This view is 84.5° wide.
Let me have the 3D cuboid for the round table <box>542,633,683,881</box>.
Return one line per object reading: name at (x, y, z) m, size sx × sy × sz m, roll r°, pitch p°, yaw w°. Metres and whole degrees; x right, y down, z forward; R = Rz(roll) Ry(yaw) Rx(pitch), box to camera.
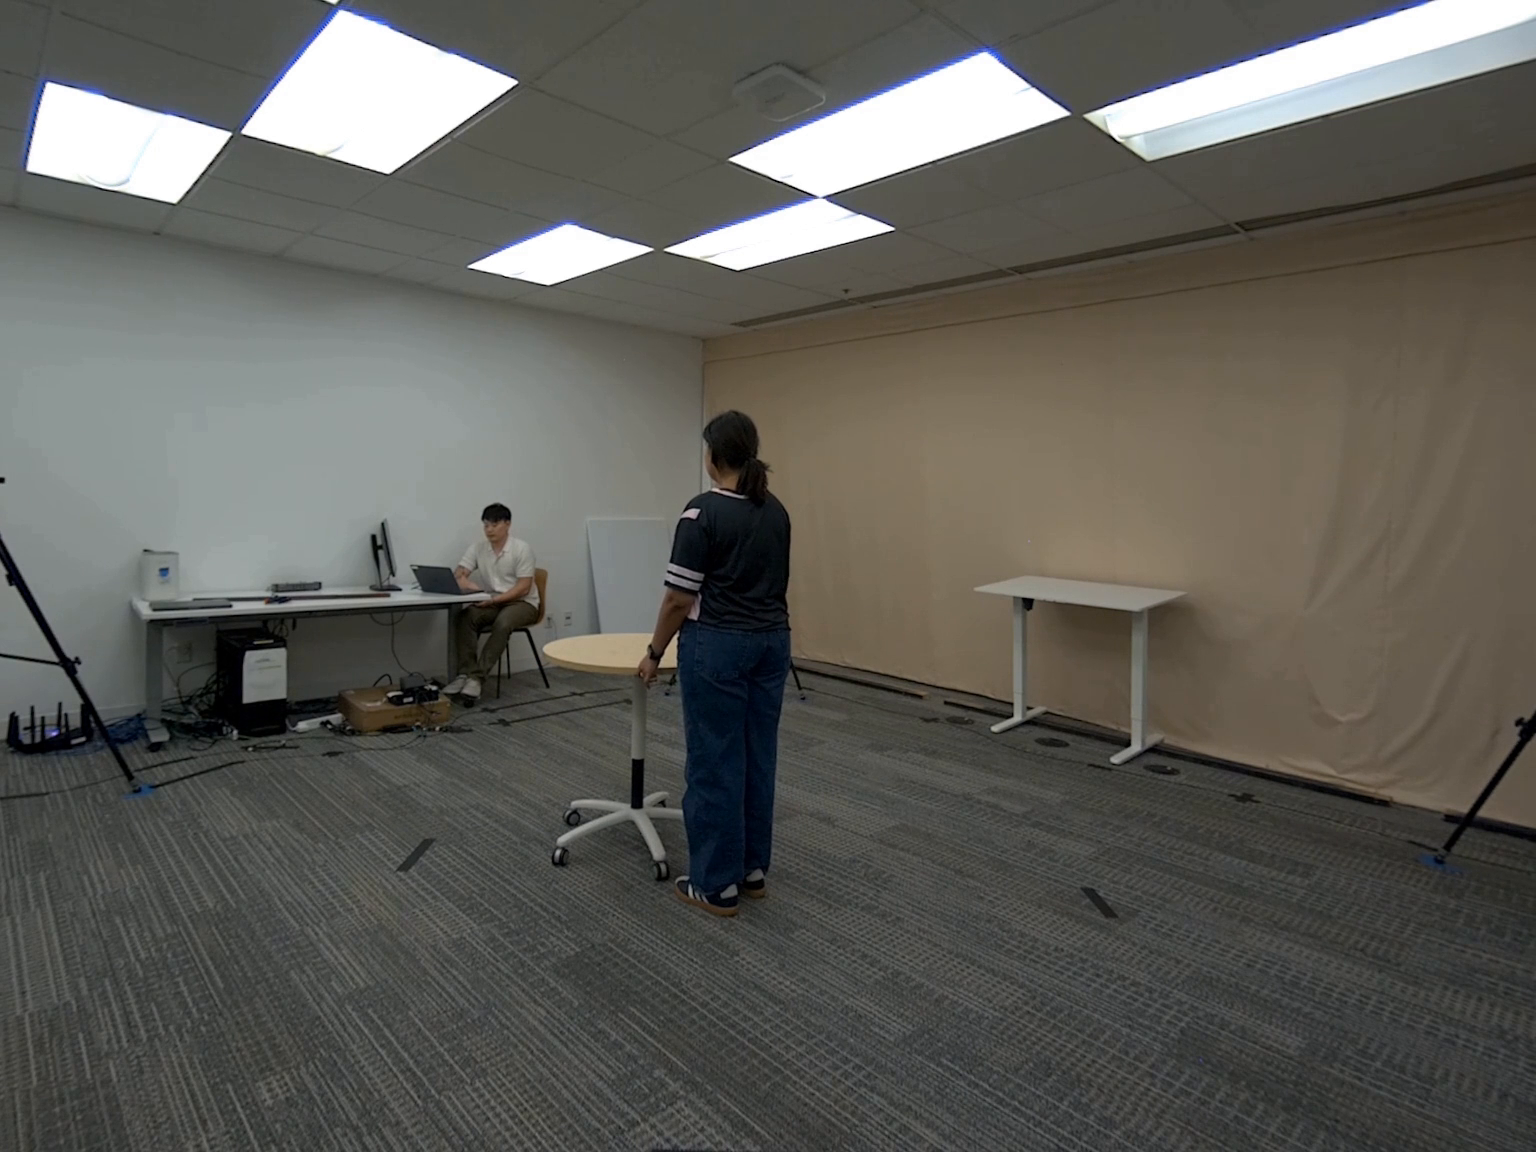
round table at (-0.527, 0.678, 3.355) m, size 0.784 × 0.785 × 0.787 m, roll 2°, pitch 4°, yaw -1°
